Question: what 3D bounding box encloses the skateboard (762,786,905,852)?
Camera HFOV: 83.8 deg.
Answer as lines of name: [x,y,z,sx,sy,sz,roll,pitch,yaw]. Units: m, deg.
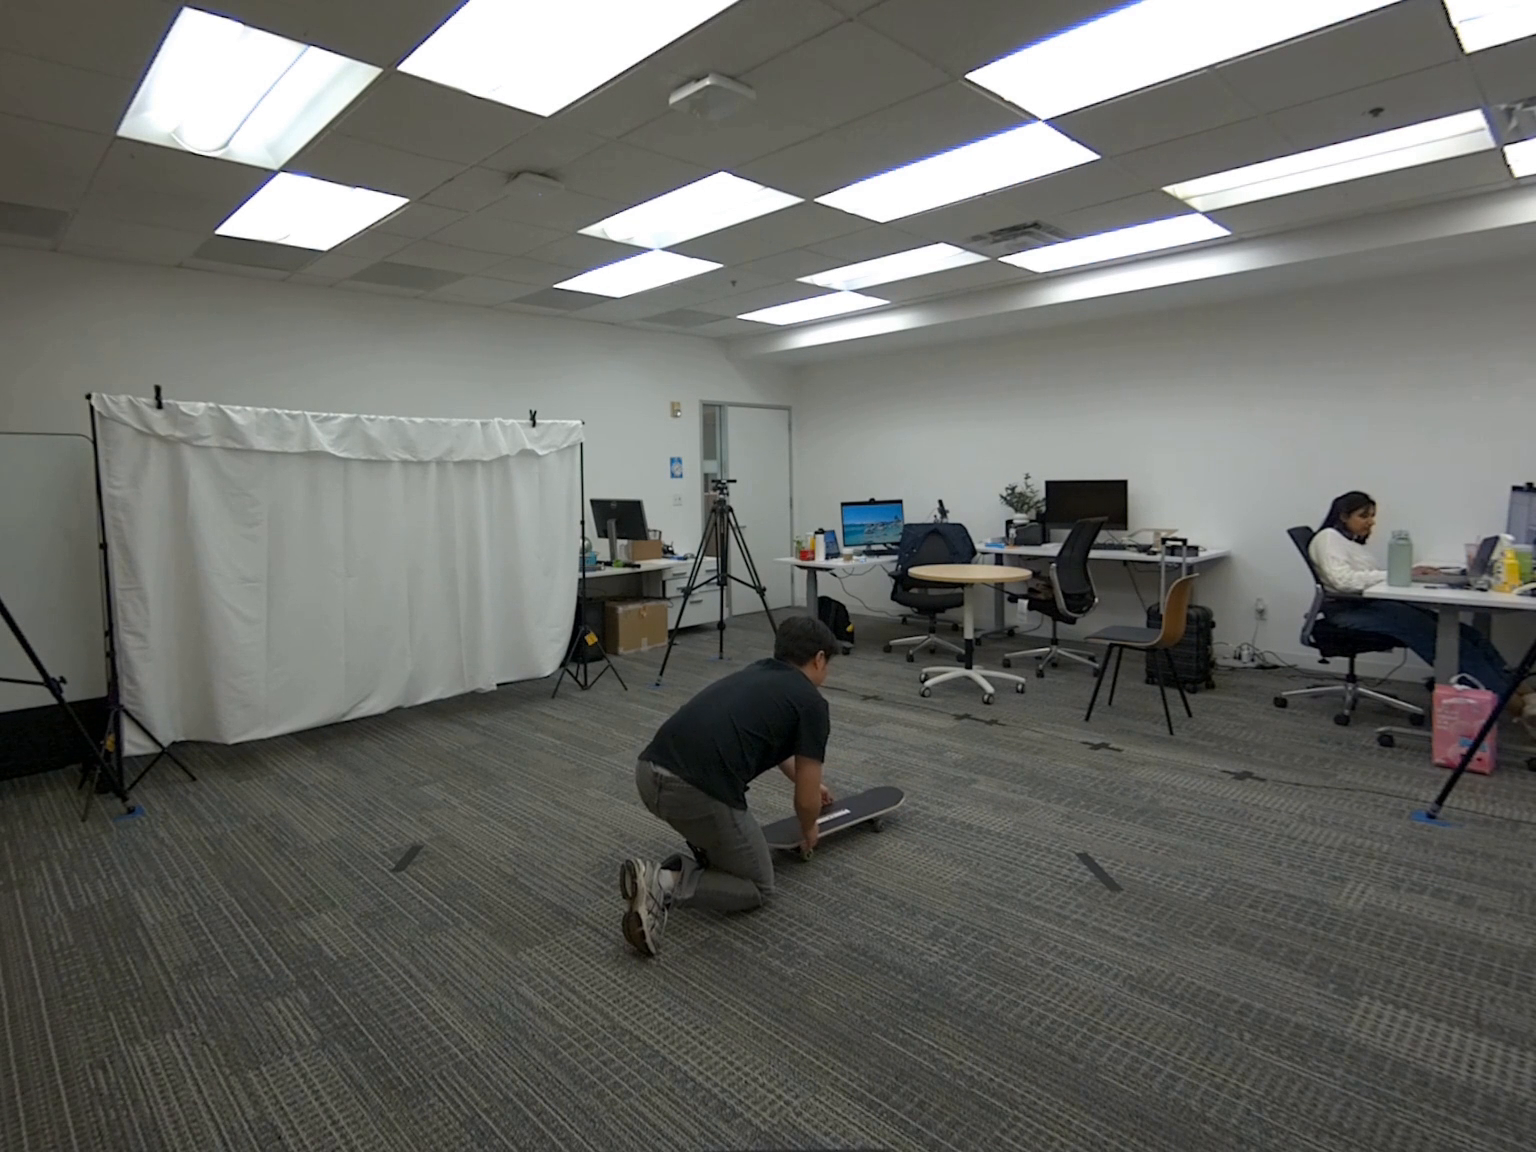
skateboard: [0.238,0.959,3.309,0.765,0.110,0.199,-7,8,-40]
